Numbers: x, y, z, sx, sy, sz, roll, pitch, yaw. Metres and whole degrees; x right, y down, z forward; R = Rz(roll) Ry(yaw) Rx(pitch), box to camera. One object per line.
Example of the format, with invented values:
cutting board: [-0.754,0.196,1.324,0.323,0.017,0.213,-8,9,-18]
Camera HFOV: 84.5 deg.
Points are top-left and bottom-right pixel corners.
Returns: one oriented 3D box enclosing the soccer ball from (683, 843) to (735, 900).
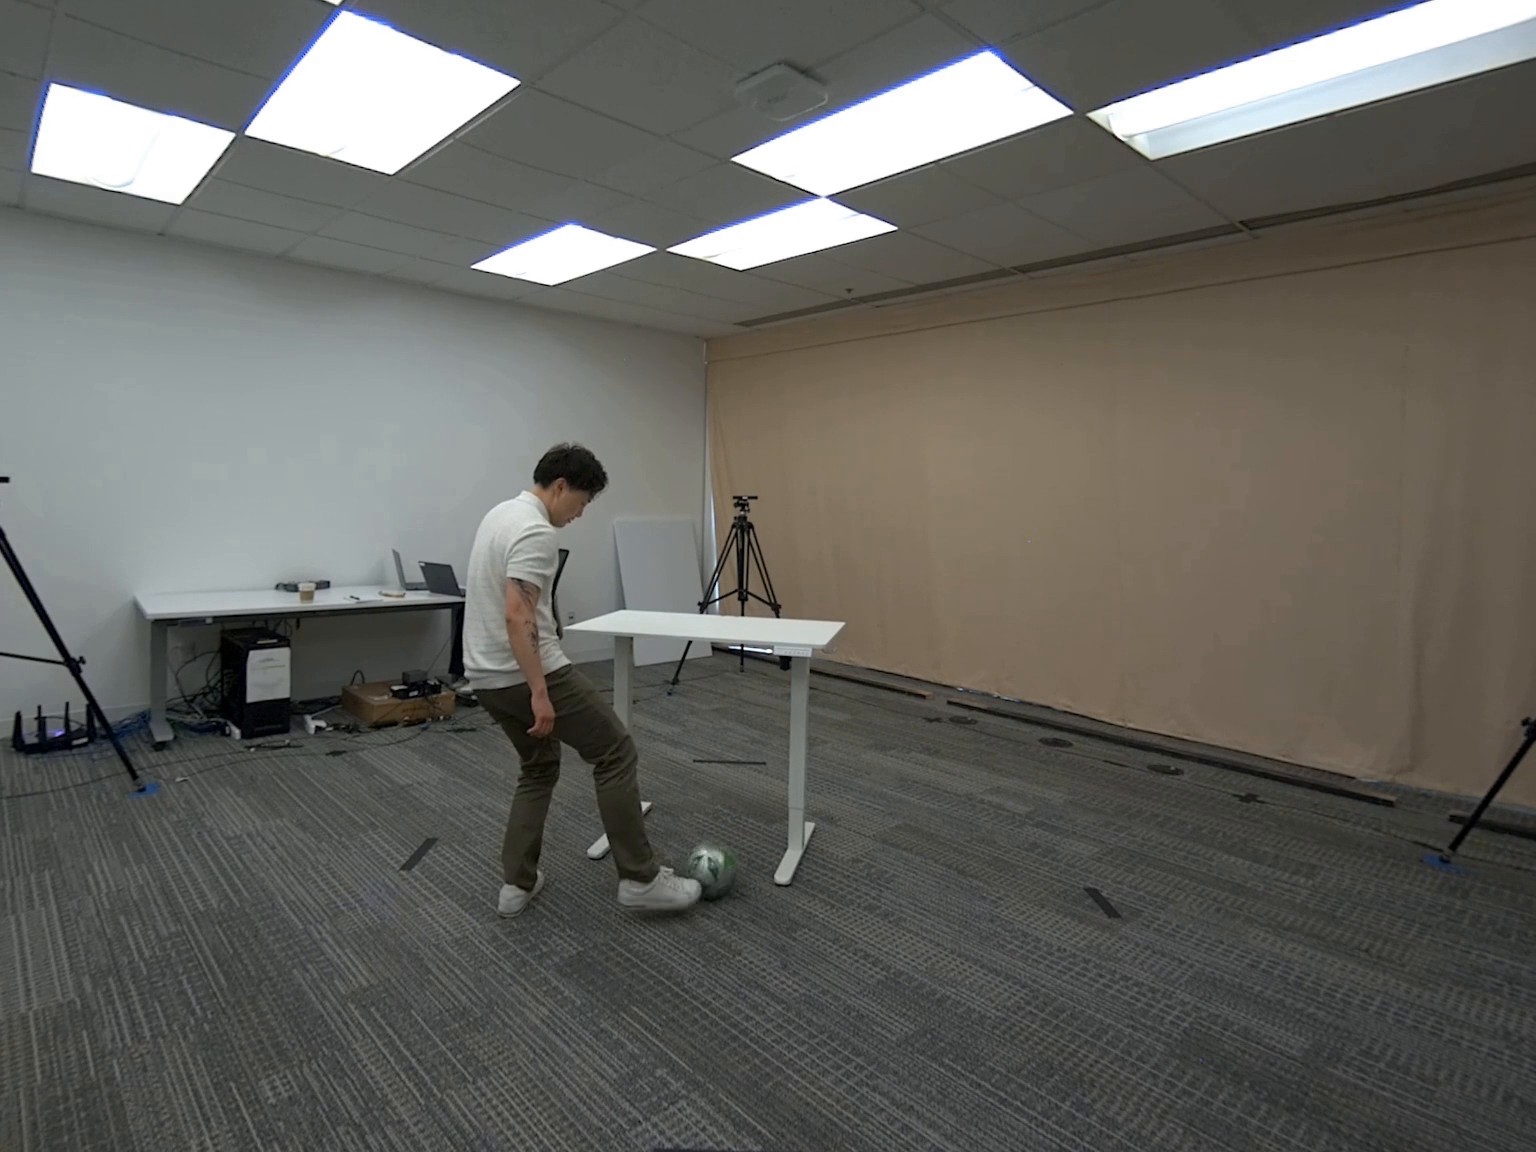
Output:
soccer ball: [-0.211,1.021,2.931,0.187,0.187,0.188,1,4,-1]
